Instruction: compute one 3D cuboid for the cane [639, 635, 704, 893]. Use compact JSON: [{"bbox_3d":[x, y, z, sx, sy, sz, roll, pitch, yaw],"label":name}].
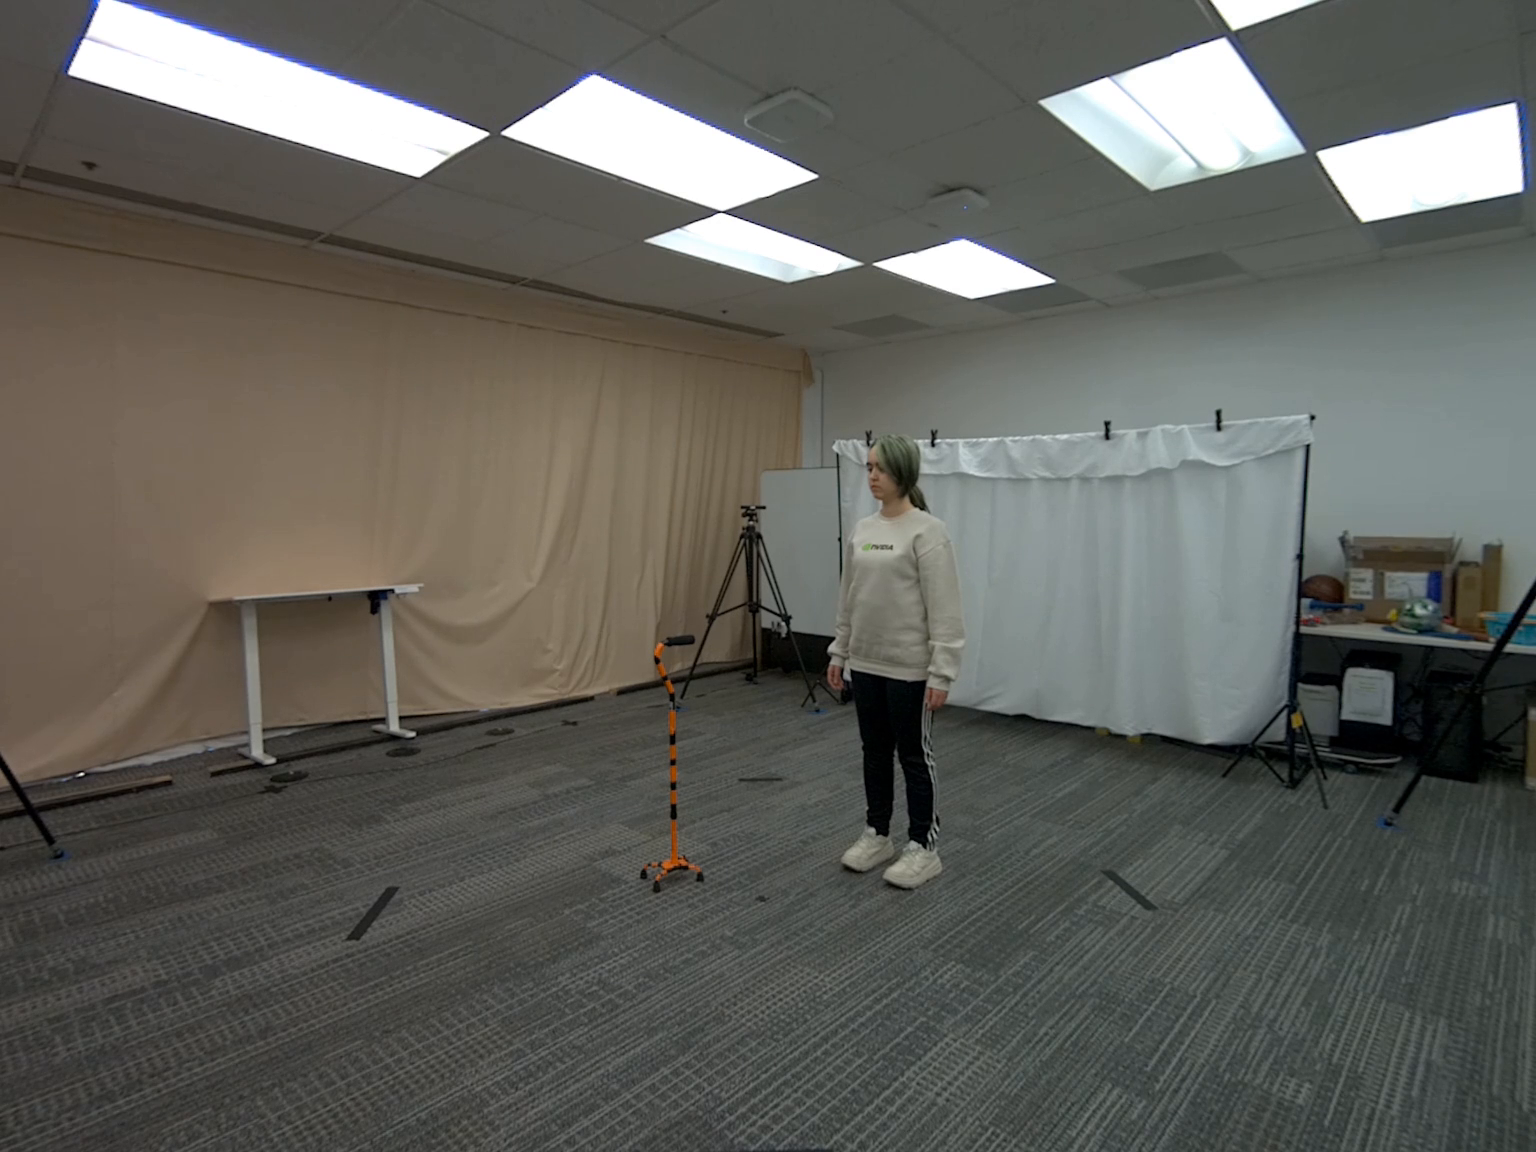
[{"bbox_3d":[-0.361,0.683,3.122,0.201,0.906,0.156,-2,3,-27],"label":"cane"}]
